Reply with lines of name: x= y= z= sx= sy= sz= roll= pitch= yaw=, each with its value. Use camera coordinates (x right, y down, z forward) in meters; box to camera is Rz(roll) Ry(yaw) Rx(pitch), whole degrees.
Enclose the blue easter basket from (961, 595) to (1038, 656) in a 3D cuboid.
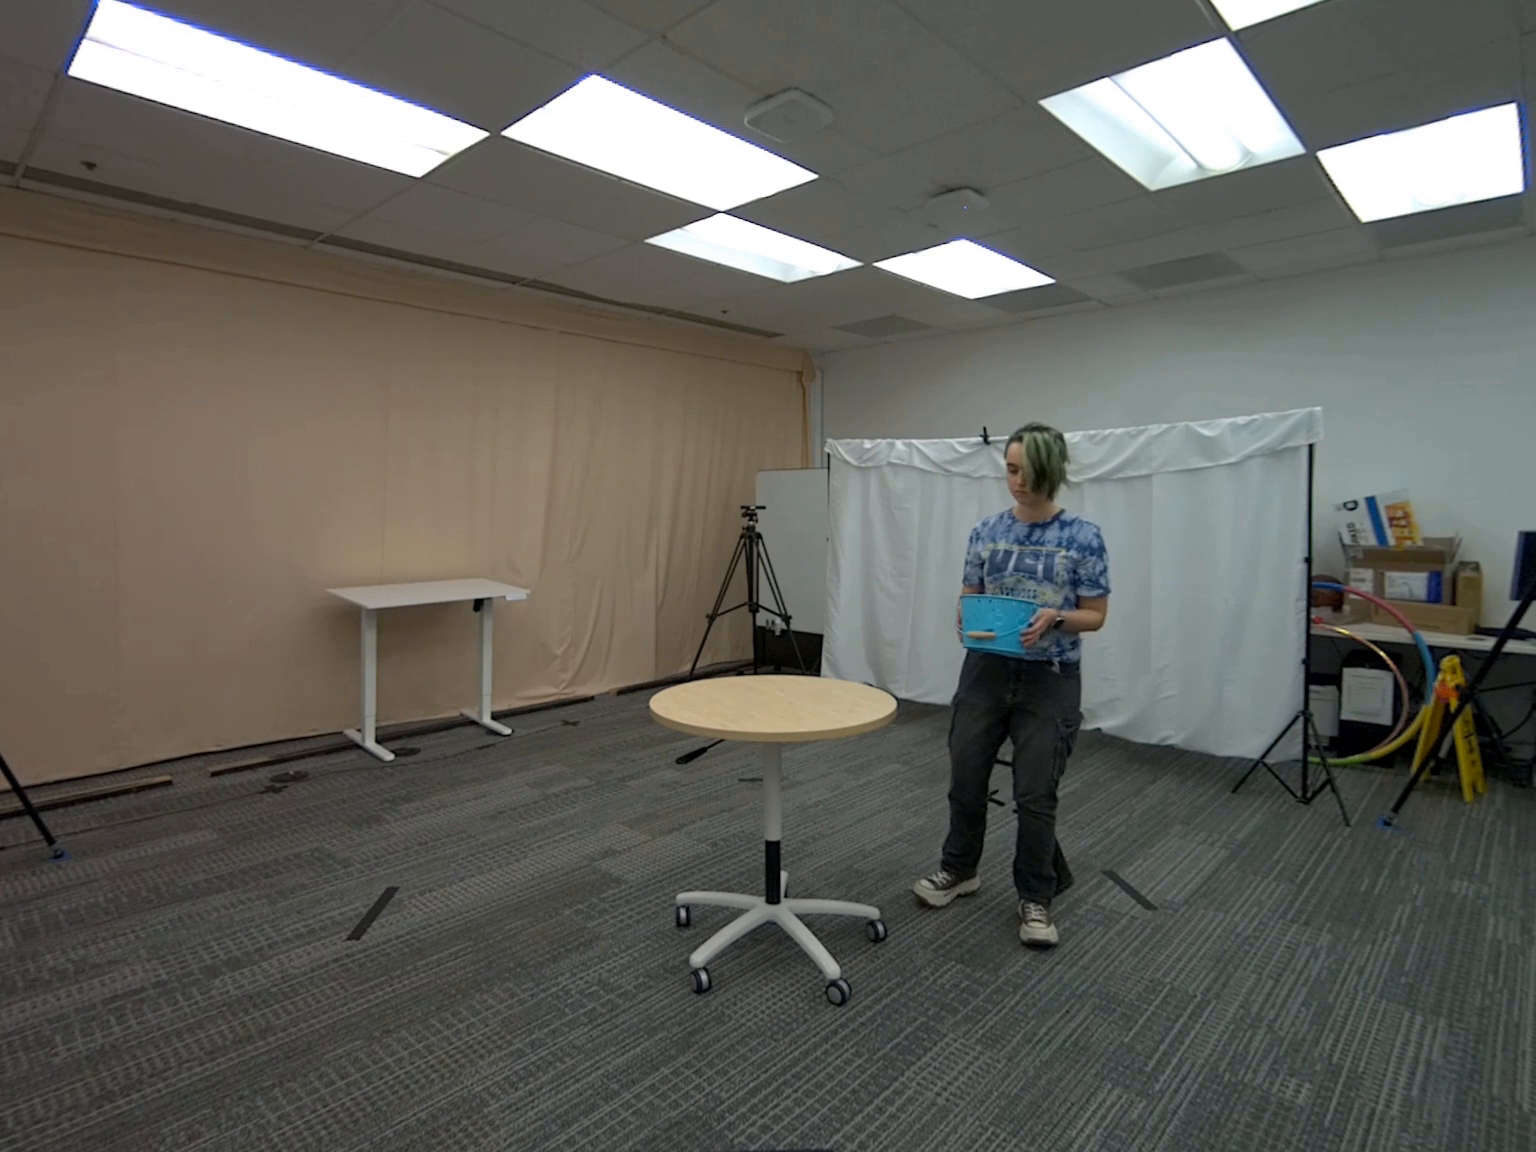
blue easter basket: x=0.720 y=0.156 z=2.546 sx=0.244 sy=0.156 sz=0.243 roll=10 pitch=-6 yaw=-1
